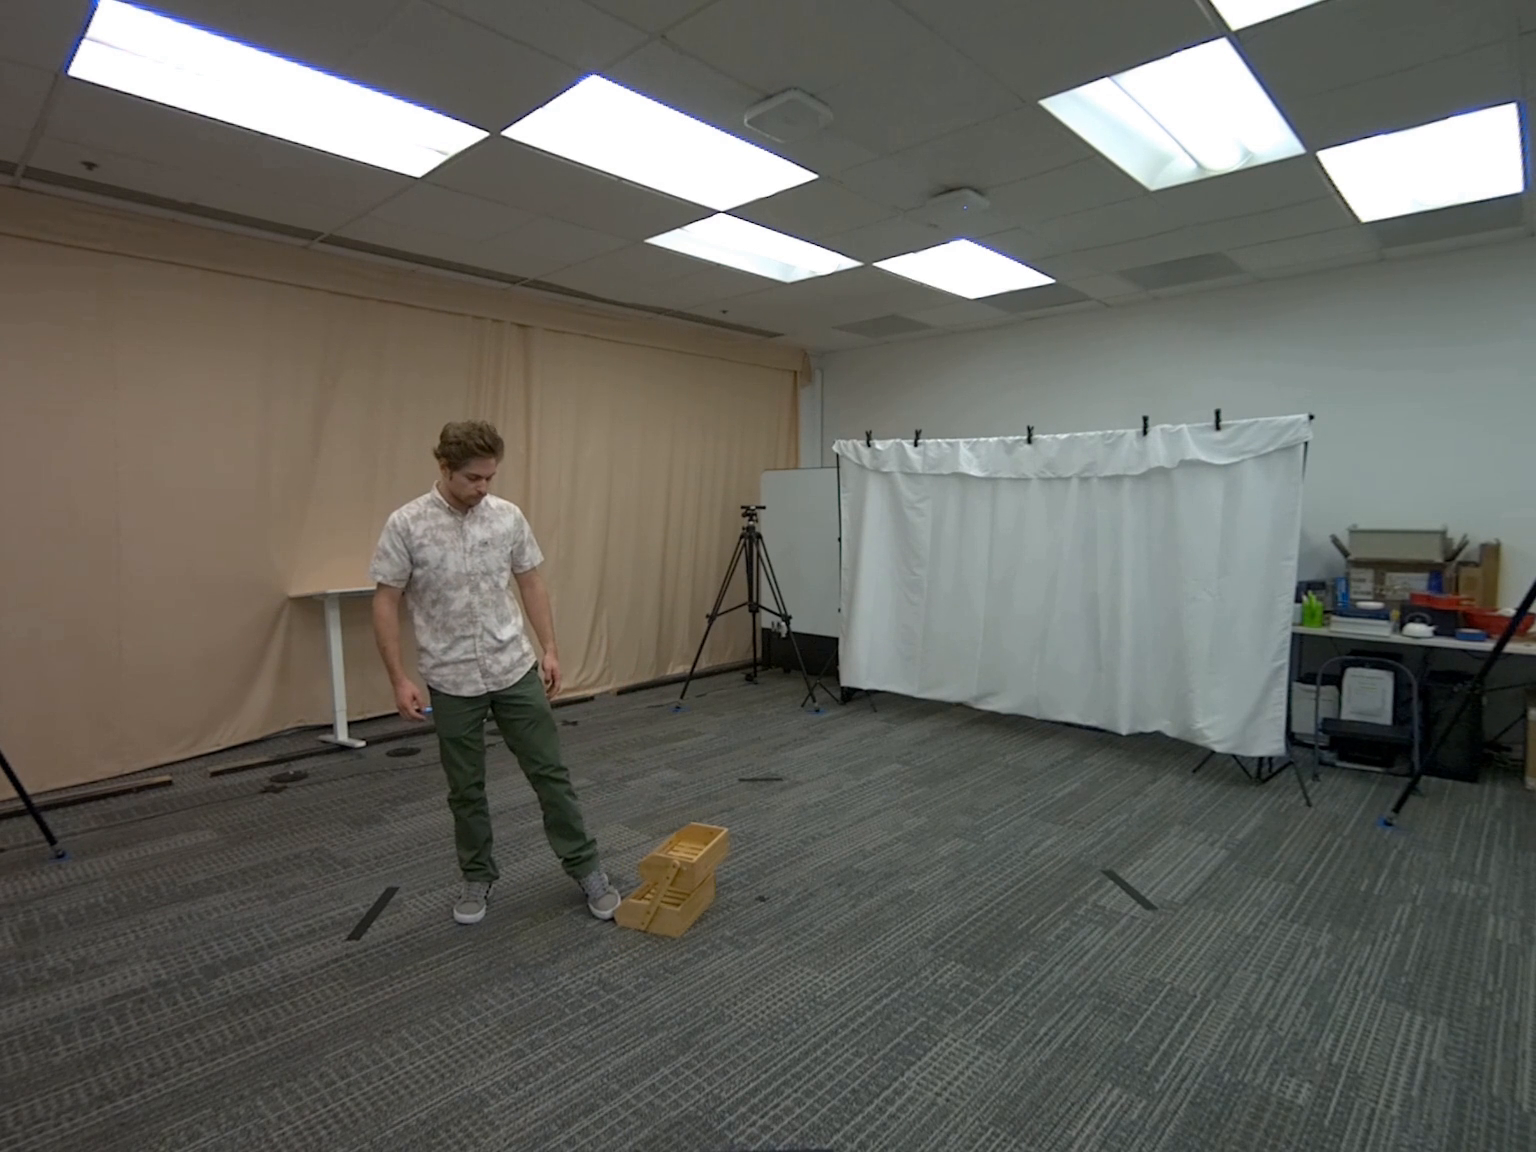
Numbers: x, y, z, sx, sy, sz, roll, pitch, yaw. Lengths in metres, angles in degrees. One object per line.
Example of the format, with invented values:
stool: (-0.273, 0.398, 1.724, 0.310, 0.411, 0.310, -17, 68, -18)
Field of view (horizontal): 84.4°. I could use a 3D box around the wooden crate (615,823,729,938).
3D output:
wooden crate: (-0.331, 1.021, 2.874, 0.309, 0.273, 0.318, 2, 4, 21)
